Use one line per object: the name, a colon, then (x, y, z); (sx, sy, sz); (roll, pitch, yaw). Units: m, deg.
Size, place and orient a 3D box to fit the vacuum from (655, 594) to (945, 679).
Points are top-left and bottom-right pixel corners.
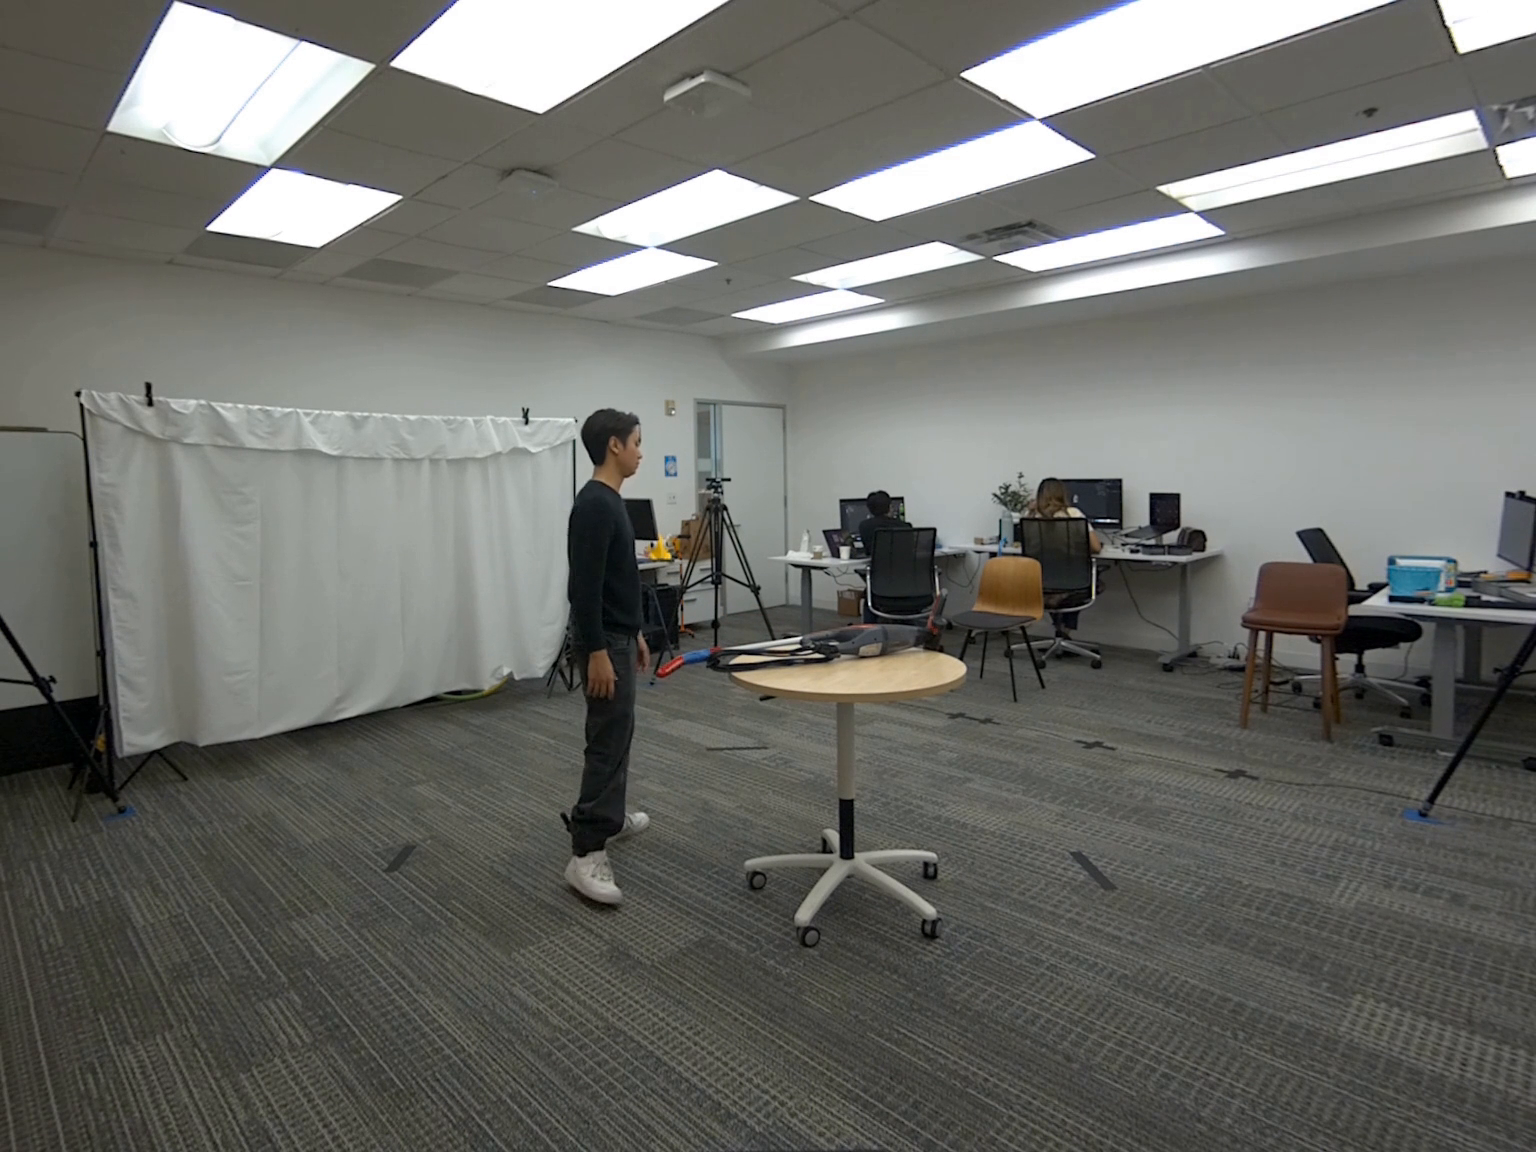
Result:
vacuum: (0.132, 0.247, 2.840); (1.030, 0.247, 0.149); (-8, 36, -23)
